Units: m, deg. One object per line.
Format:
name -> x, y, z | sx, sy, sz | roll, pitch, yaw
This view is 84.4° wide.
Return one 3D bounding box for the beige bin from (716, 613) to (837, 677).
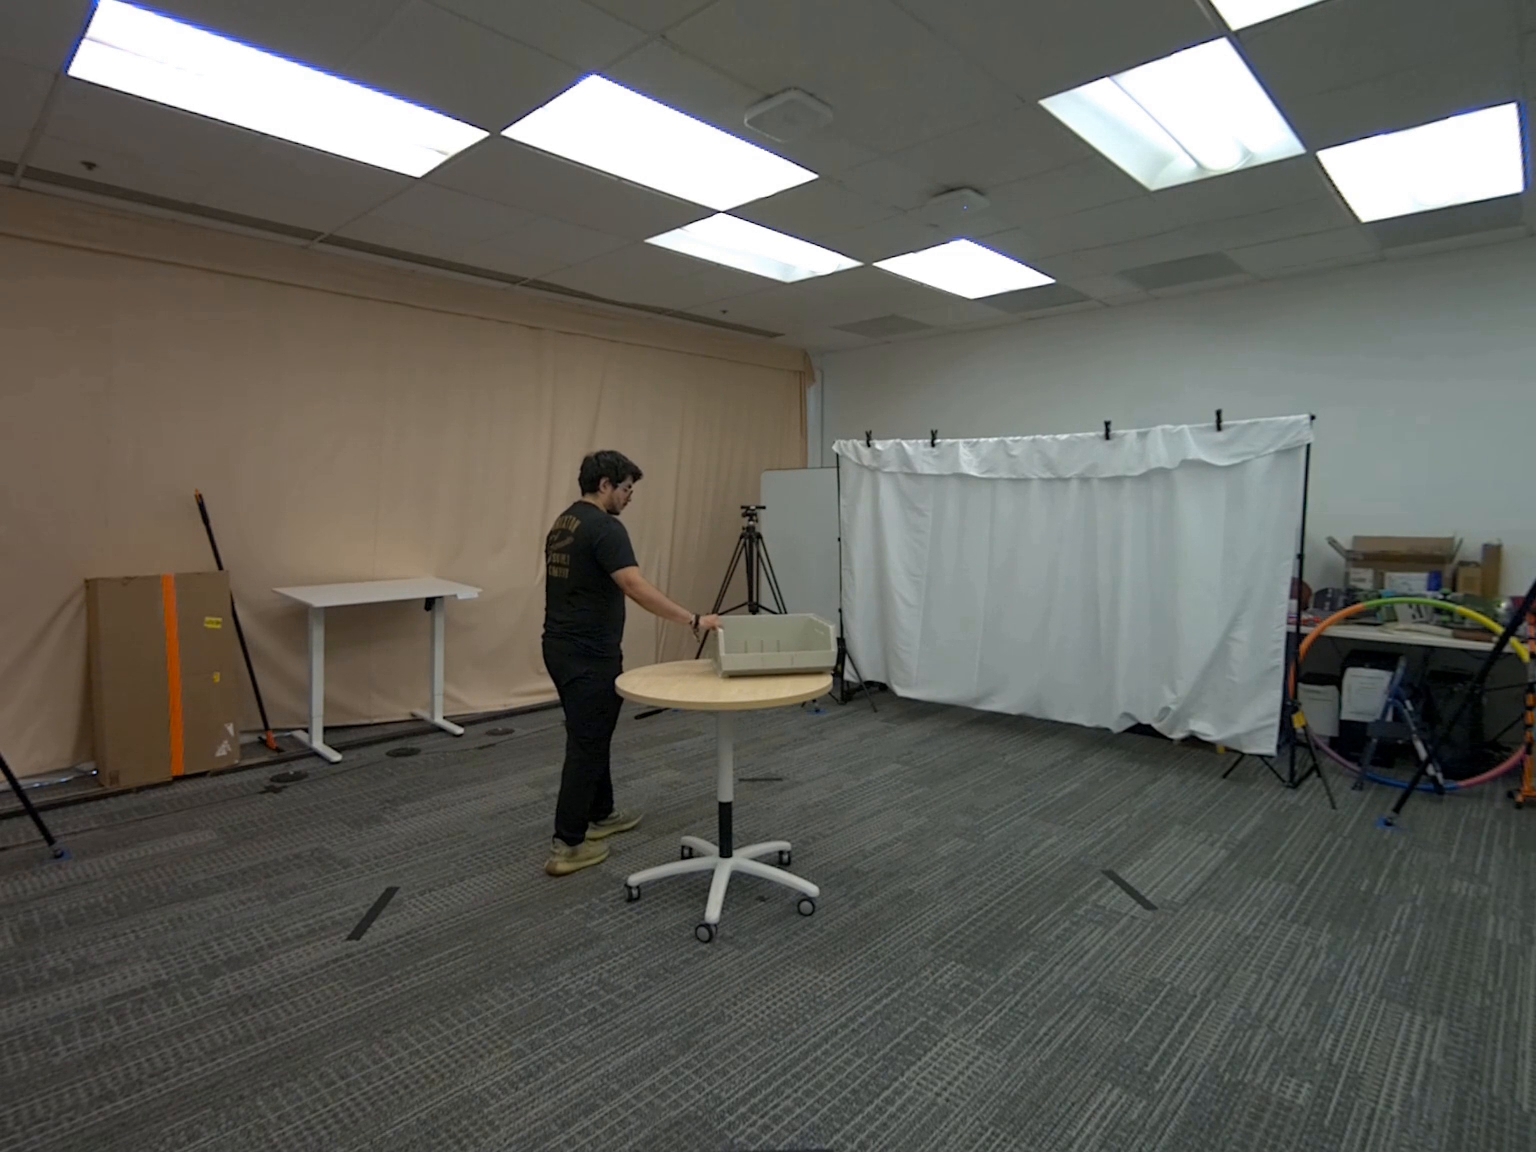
beige bin -> 0.009, 0.257, 3.125 | 0.419, 0.189, 0.380 | -1, 3, -7
